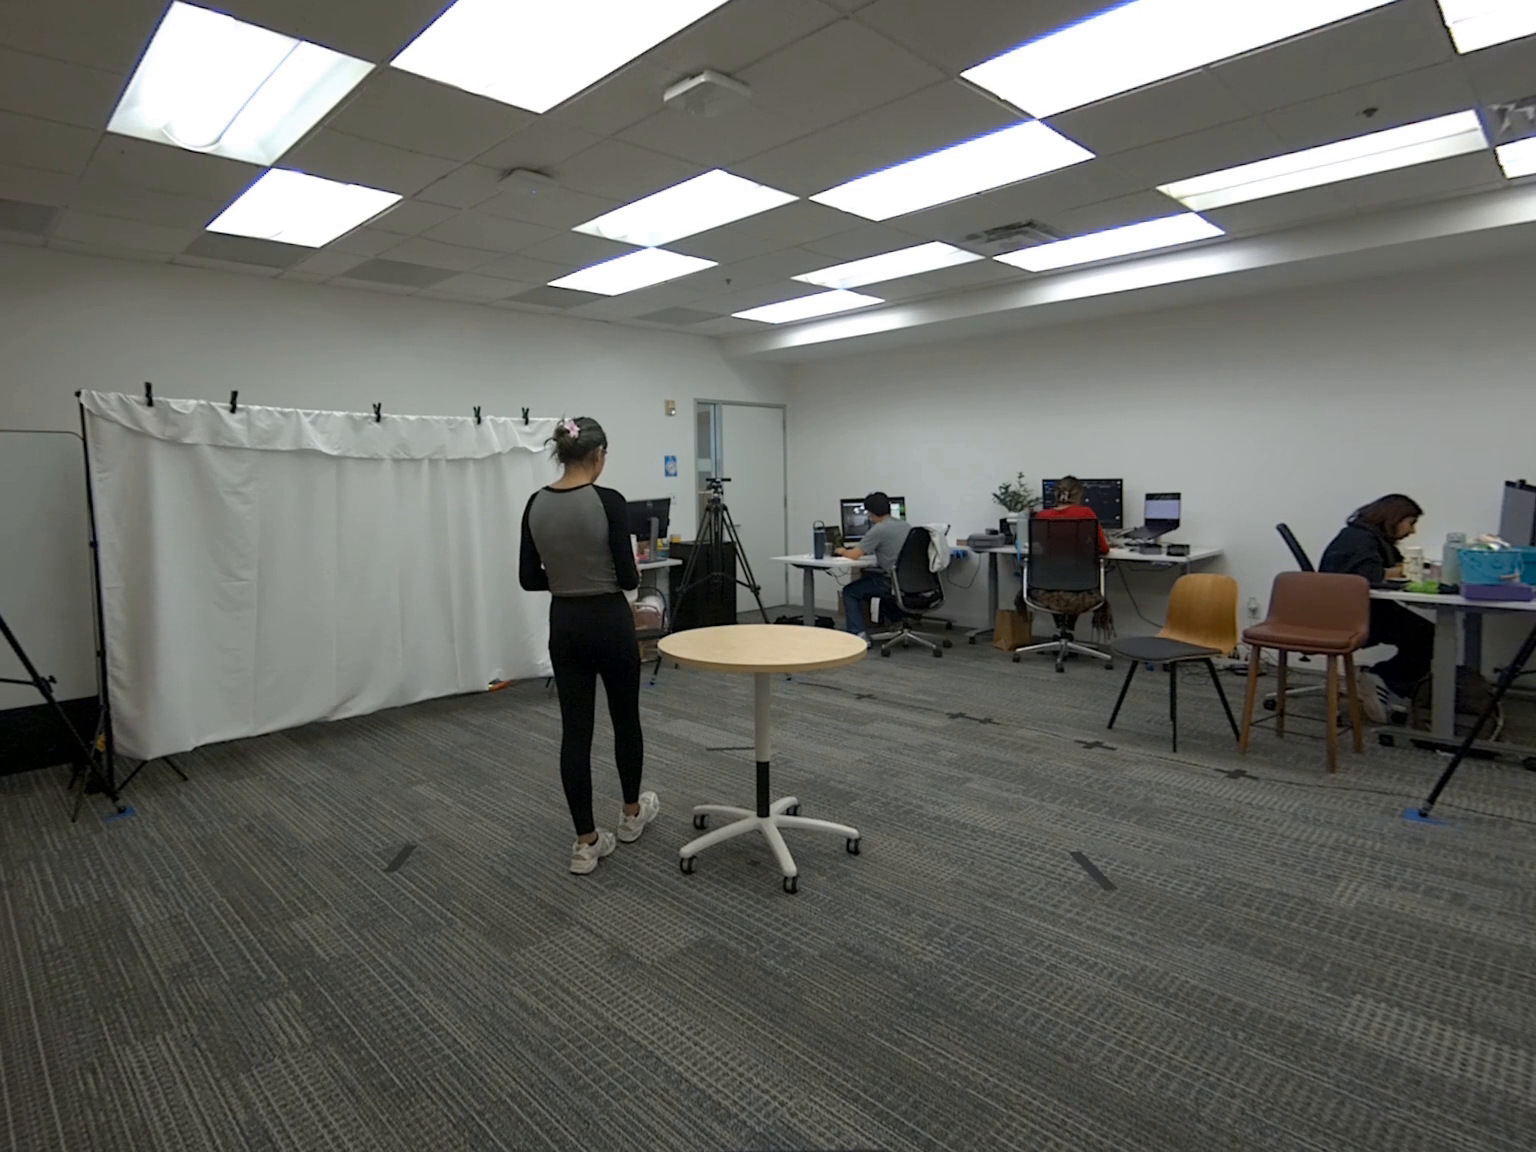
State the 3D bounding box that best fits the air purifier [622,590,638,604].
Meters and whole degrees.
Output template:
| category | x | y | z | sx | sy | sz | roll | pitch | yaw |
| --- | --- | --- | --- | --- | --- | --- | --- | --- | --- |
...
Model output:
| category | x | y | z | sx | sy | sz | roll | pitch | yaw |
| --- | --- | --- | --- | --- | --- | --- | --- | --- | --- |
| air purifier | -0.603 | -0.019 | 3.317 | 0.174 | 0.263 | 0.170 | 0 | 8 | 13 |
